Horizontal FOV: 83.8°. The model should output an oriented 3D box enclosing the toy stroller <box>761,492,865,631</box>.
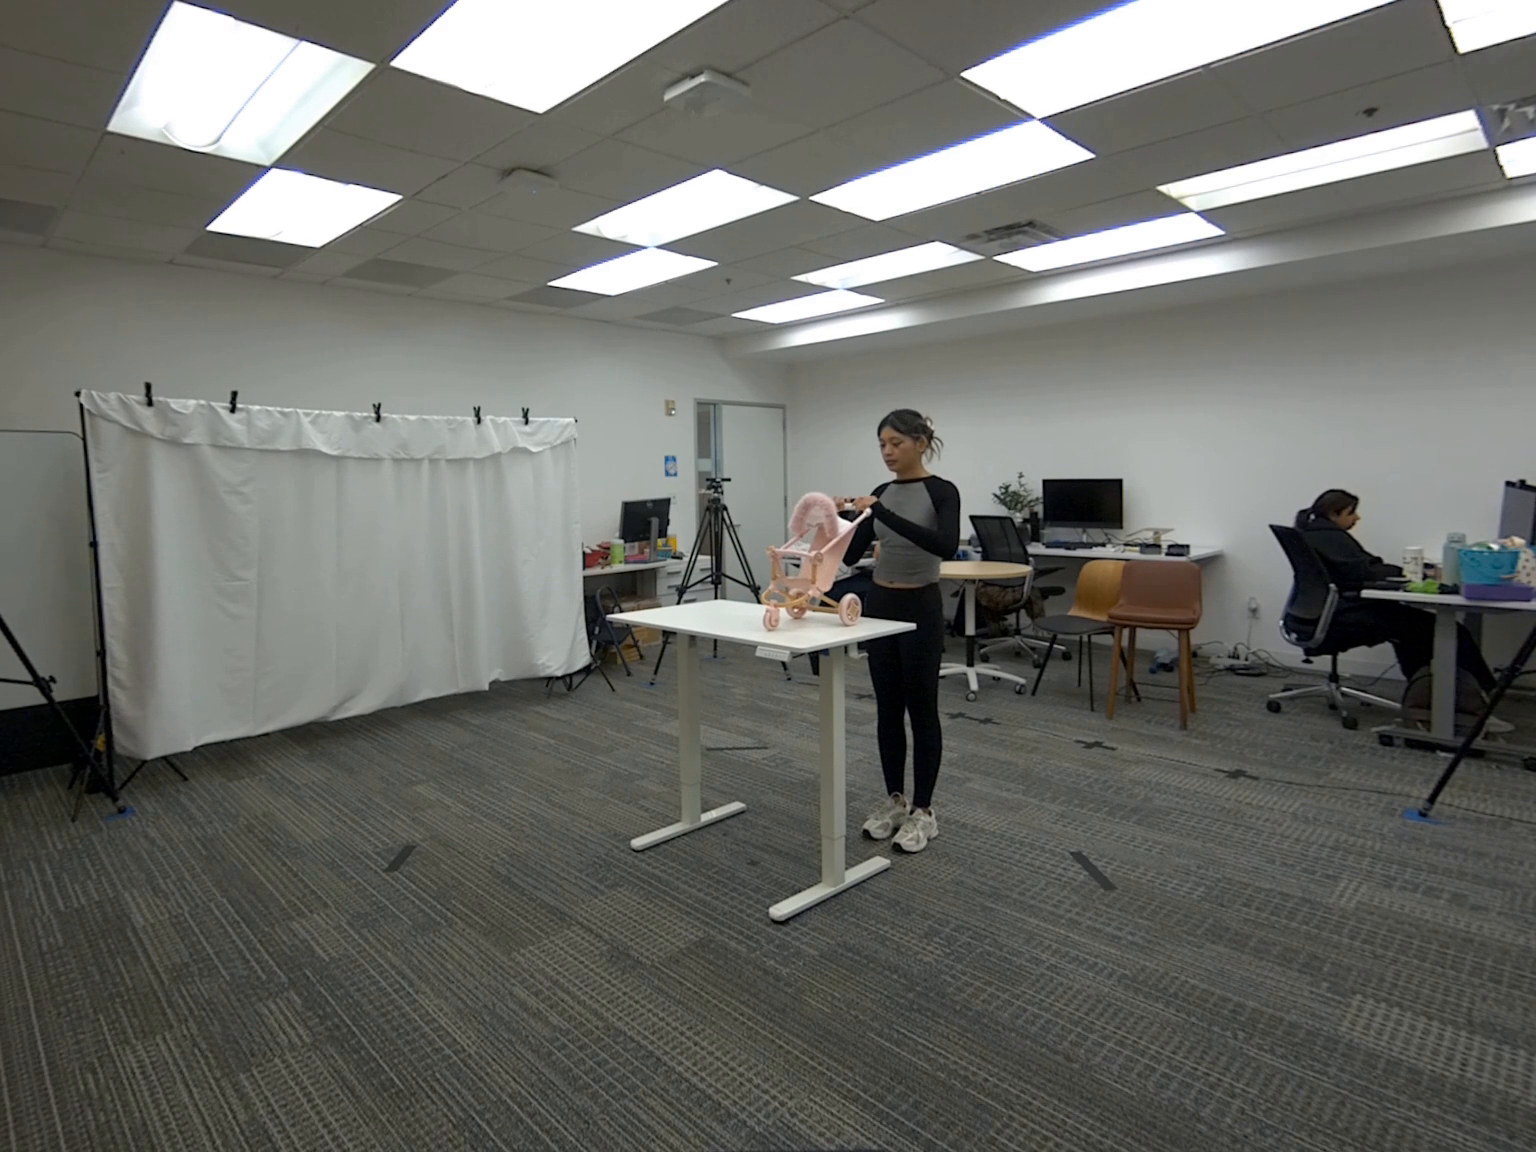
[{"bbox_3d":[0.151,-0.054,2.975,0.330,0.537,0.290,17,-8,-39],"label":"toy stroller"}]
